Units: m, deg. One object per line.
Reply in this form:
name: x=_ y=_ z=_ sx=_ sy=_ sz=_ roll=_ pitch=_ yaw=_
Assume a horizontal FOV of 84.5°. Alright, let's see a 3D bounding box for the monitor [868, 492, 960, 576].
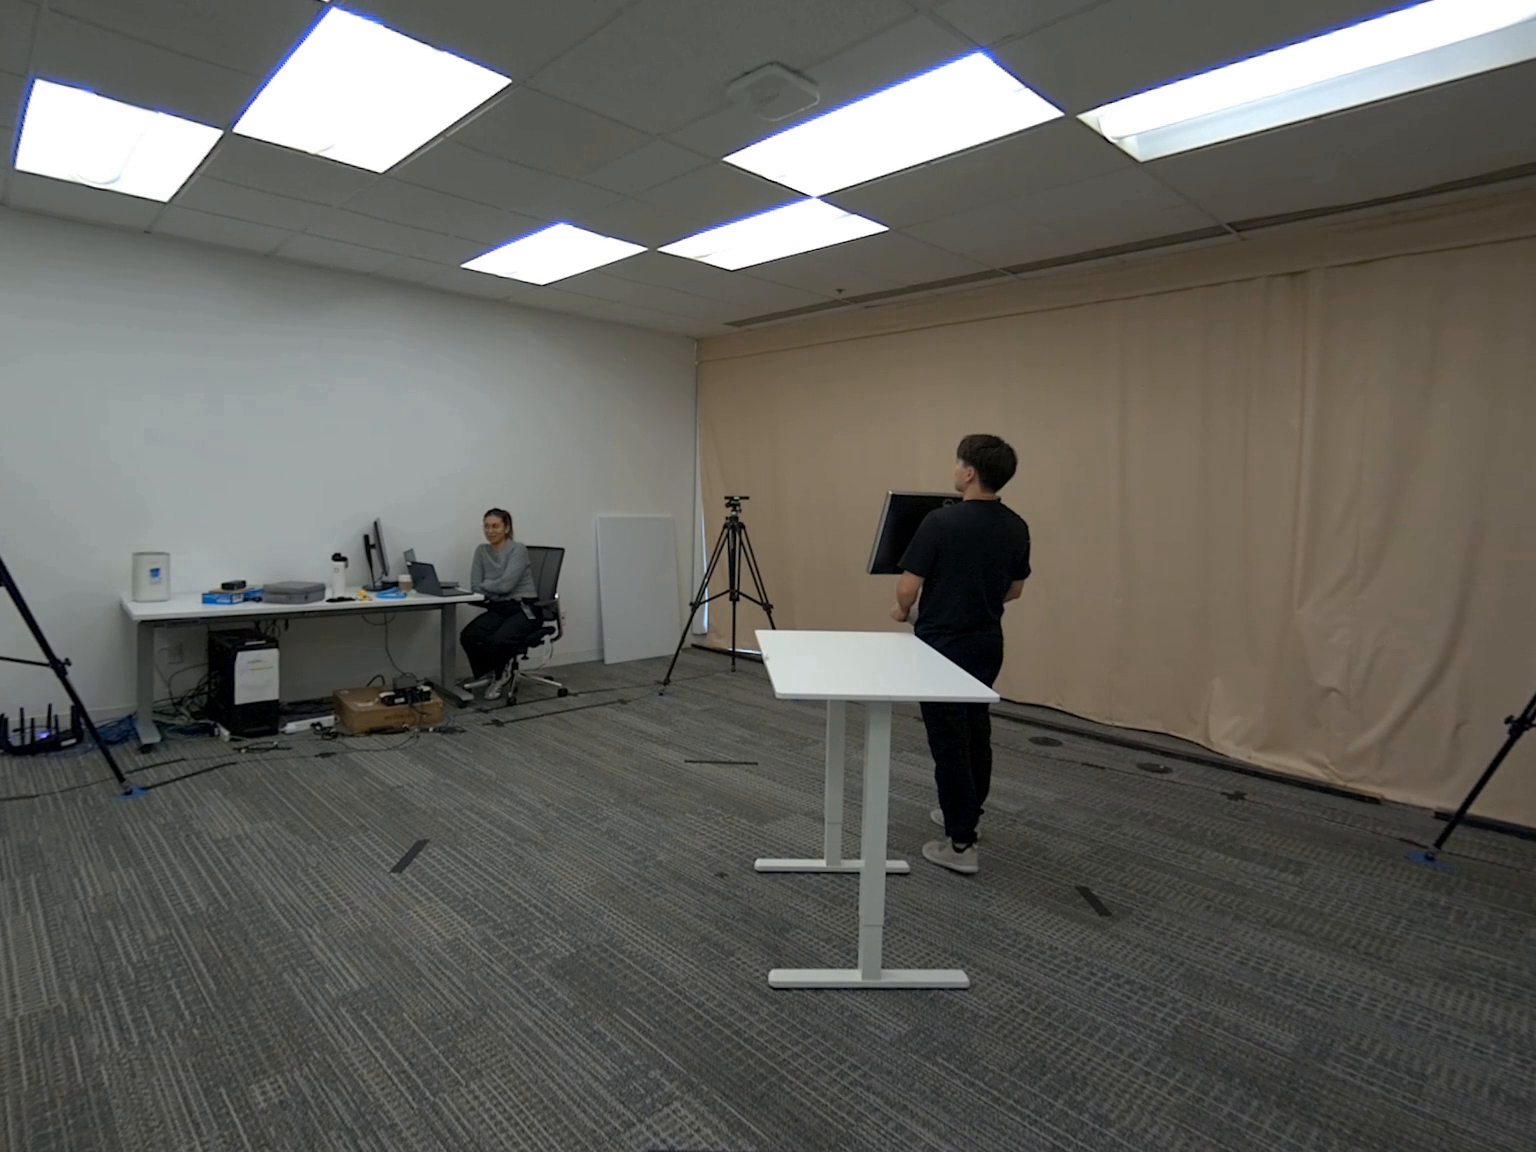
monitor: x=0.698 y=-0.077 z=3.498 sx=0.529 sy=0.518 sz=0.192 roll=0 pitch=13 yaw=-27
